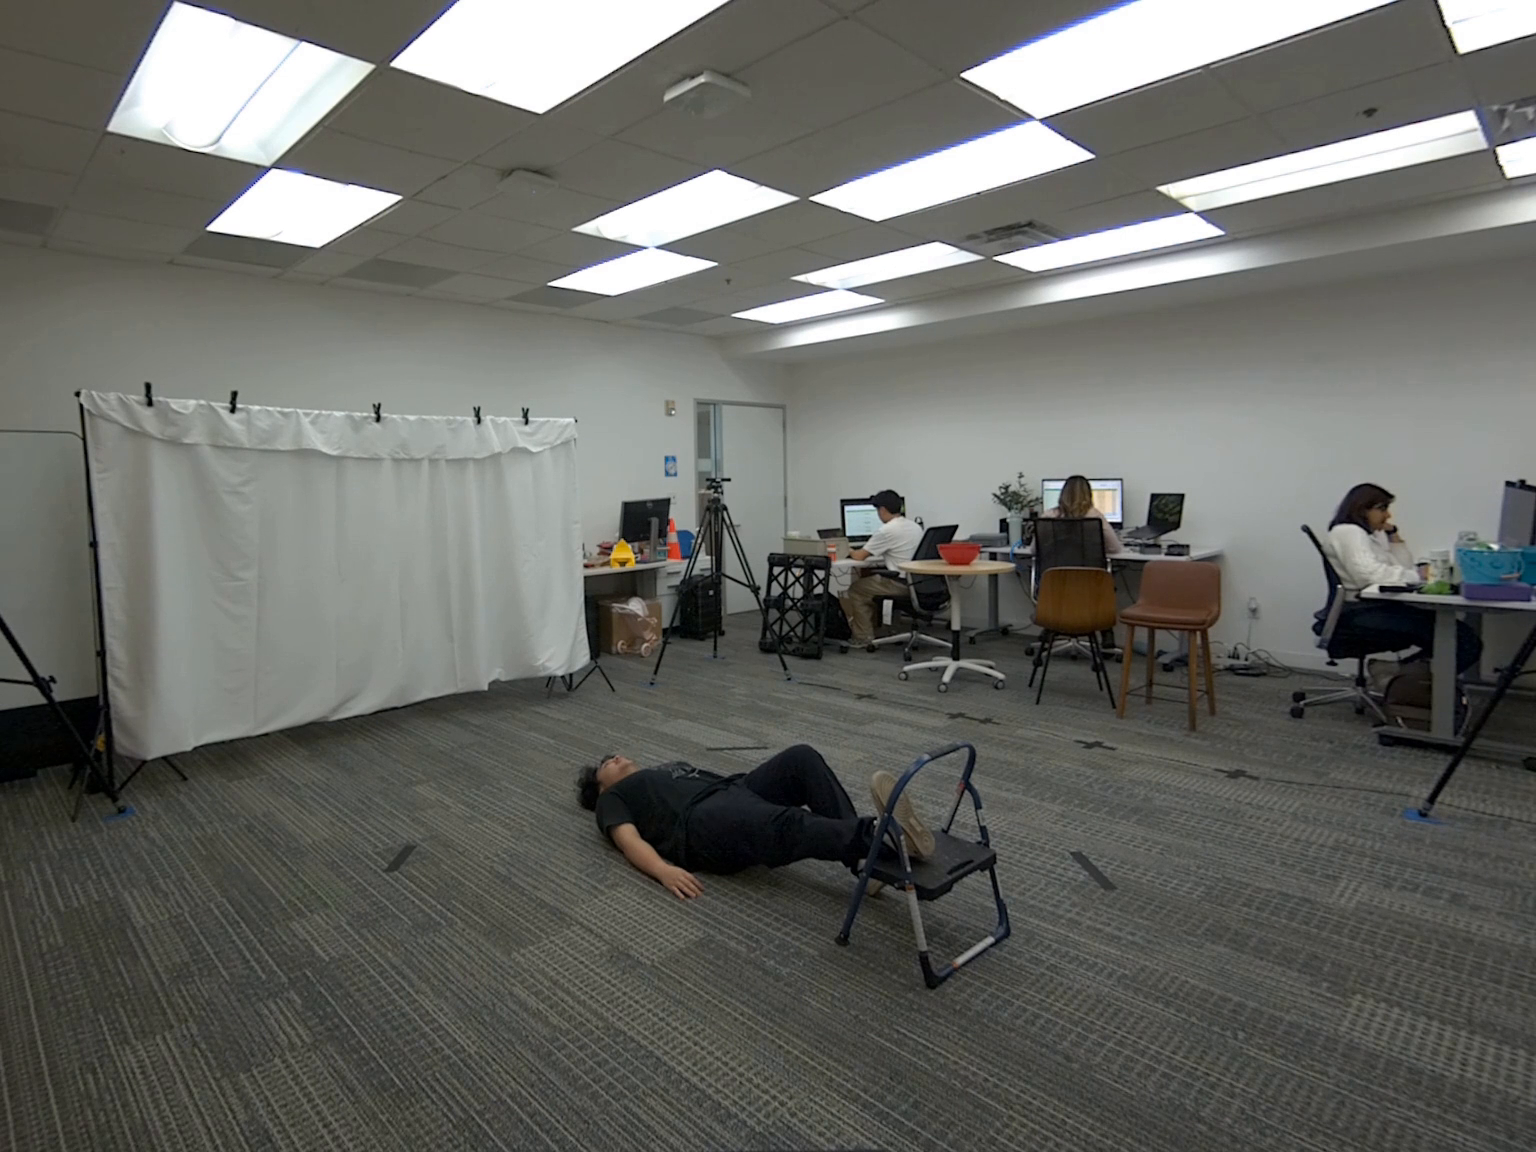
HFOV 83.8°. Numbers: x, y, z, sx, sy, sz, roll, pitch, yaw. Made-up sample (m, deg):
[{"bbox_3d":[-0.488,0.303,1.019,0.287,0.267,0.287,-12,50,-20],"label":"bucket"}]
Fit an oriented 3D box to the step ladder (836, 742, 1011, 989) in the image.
[{"bbox_3d":[0.475,0.798,2.556,0.419,0.604,0.360,-6,6,-44],"label":"step ladder"}]
